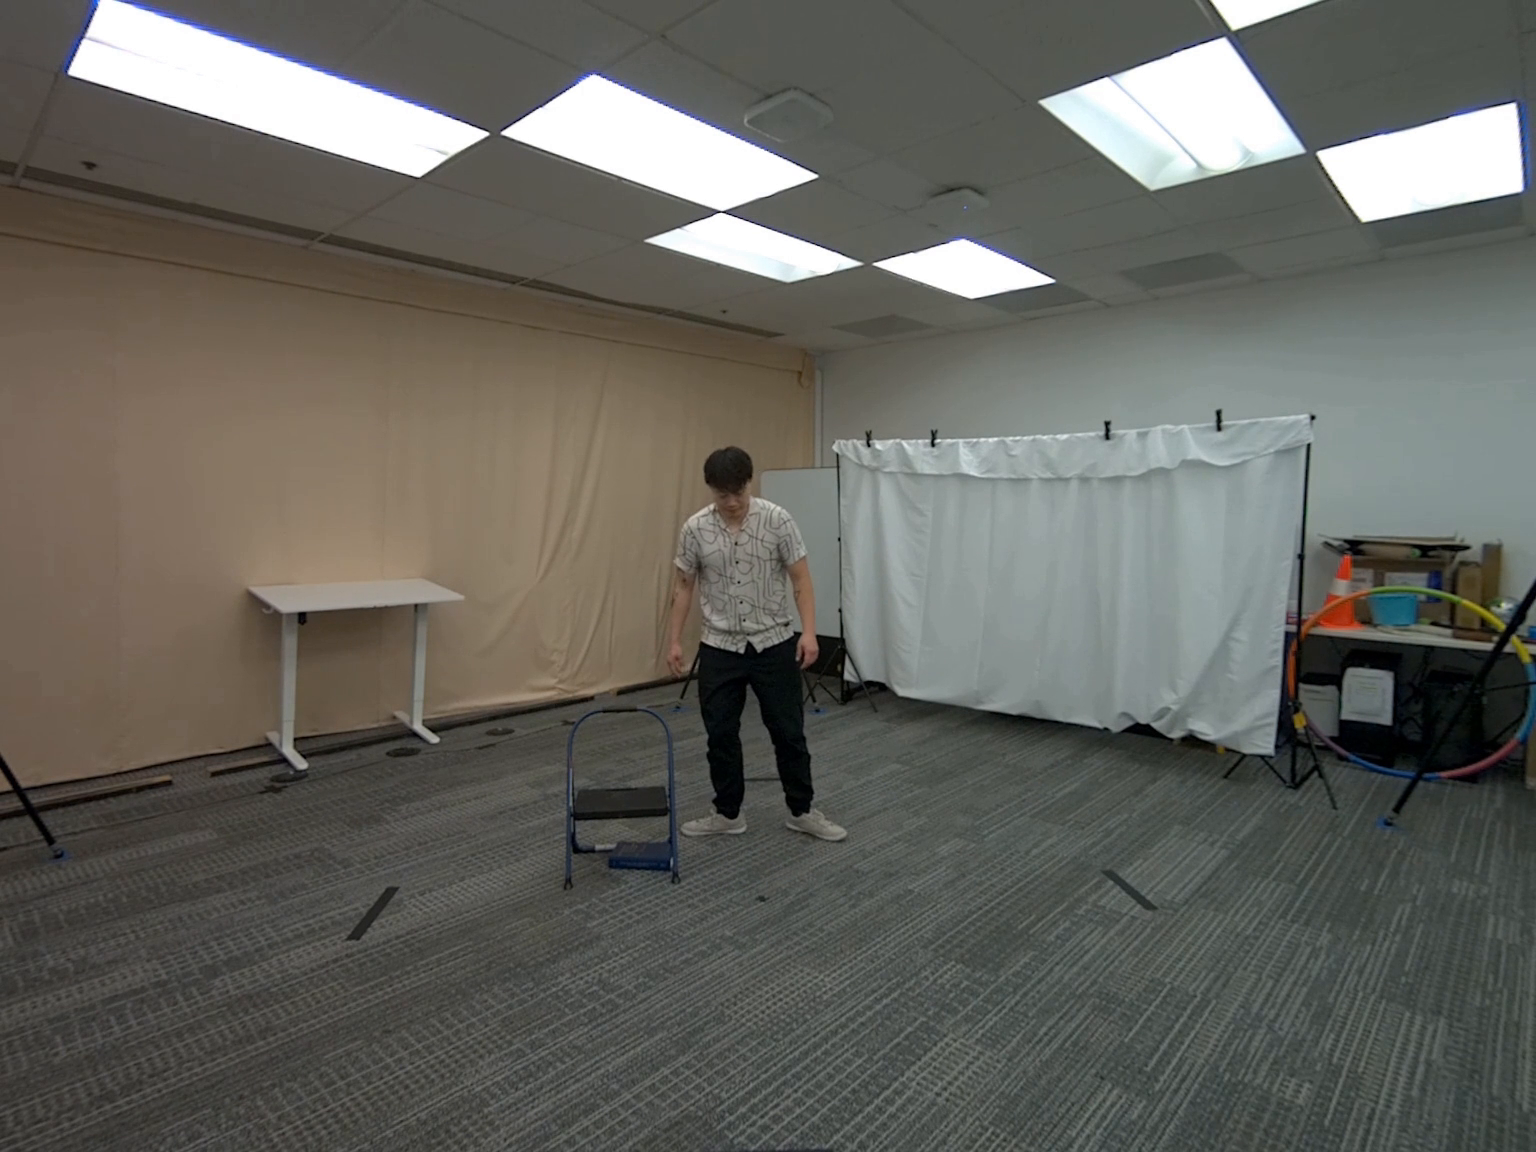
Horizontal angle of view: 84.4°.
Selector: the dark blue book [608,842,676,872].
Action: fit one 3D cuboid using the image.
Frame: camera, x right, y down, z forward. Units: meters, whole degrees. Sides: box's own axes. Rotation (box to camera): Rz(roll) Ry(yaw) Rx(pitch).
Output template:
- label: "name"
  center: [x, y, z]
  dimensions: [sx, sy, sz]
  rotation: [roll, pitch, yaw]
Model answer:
- label: "dark blue book"
  center: [-0.497, 1.107, 3.291]
  dimensions: [0.247, 0.045, 0.162]
  rotation: [0, 3, 6]
